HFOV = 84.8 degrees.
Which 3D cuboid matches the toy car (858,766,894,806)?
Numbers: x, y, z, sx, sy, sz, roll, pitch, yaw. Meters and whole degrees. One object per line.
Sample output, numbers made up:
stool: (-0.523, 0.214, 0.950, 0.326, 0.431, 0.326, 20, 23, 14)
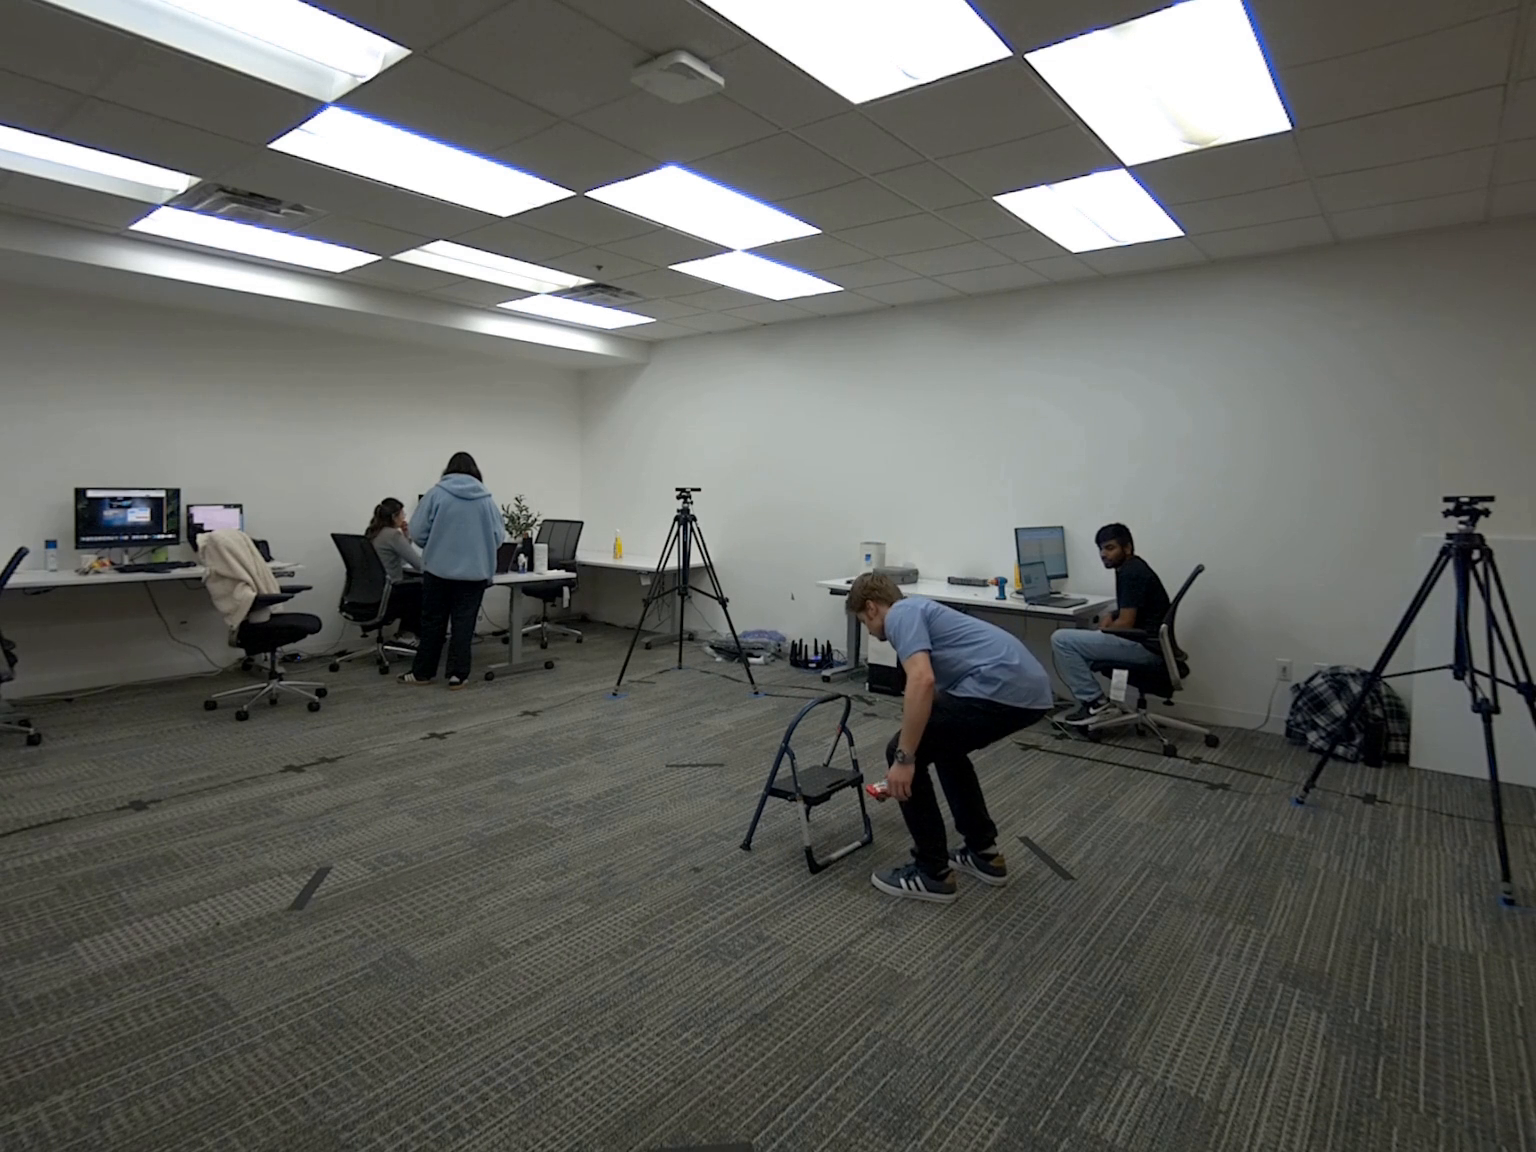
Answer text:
toy car: (0.534, 0.867, 3.563, 0.251, 0.083, 0.132, -16, 6, -16)
